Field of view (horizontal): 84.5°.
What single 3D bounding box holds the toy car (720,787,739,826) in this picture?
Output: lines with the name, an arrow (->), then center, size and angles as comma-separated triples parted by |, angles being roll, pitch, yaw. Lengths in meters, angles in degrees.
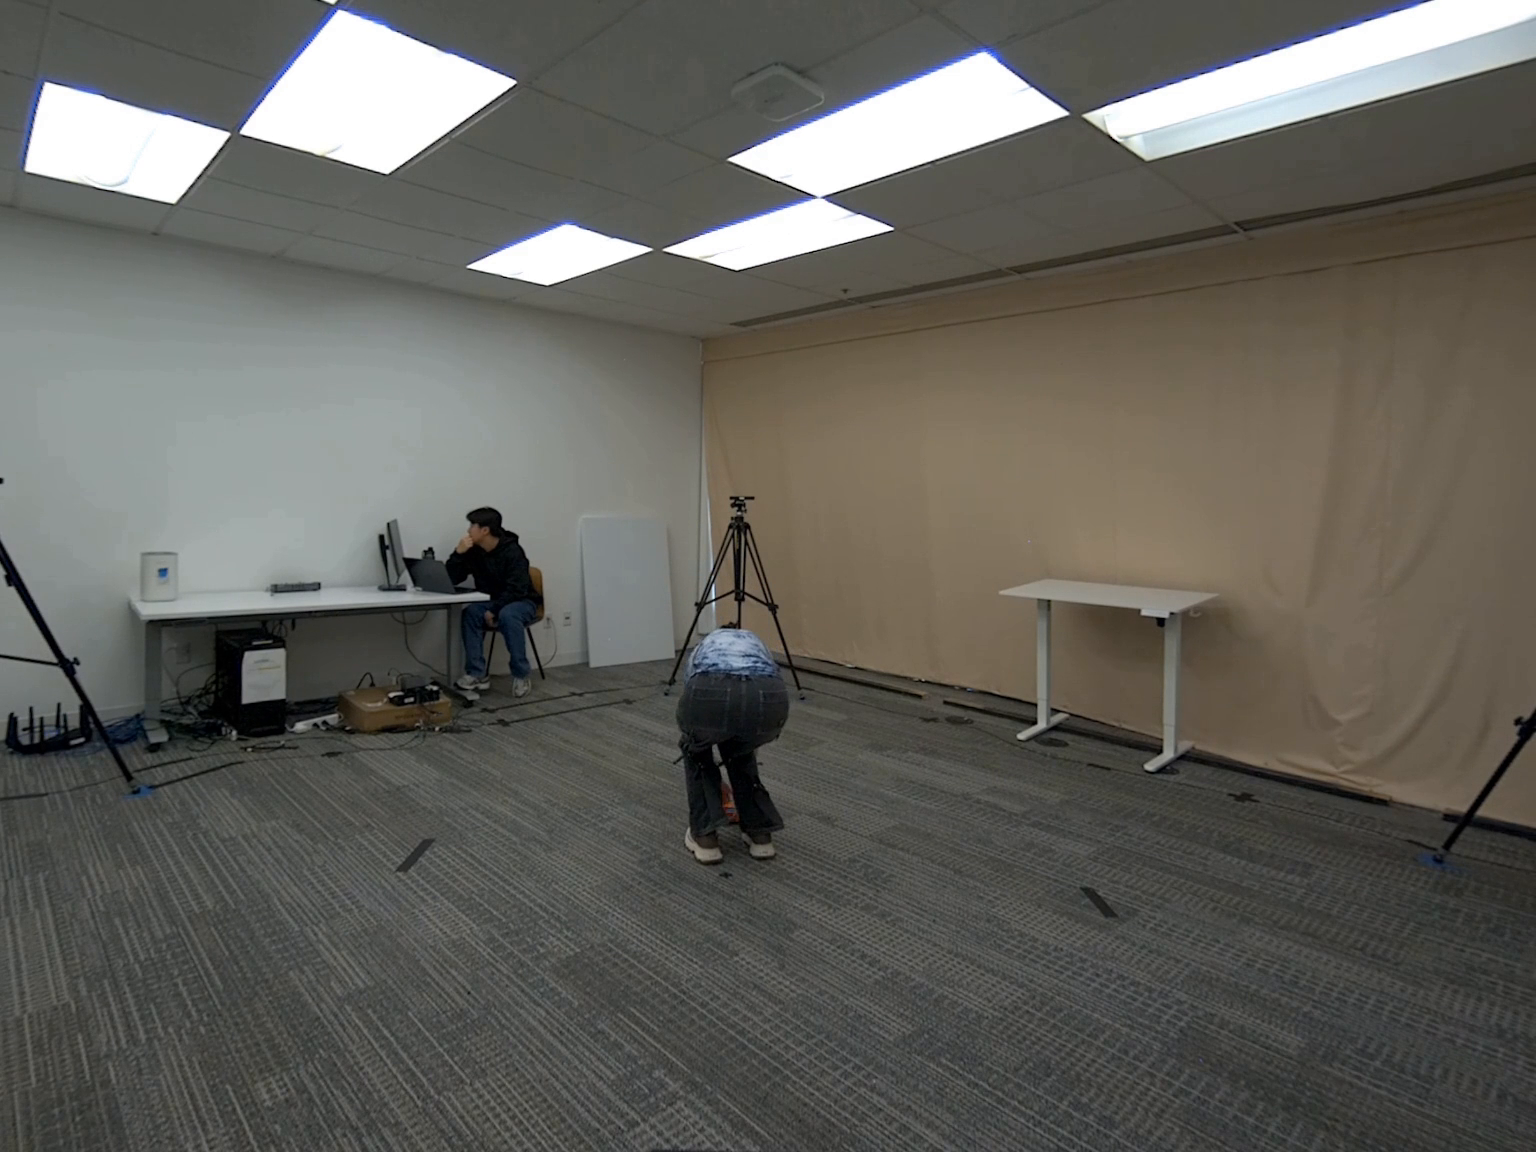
toy car -> -0.175, 1.032, 3.631 | 0.254, 0.083, 0.131 | 12, 4, -3
